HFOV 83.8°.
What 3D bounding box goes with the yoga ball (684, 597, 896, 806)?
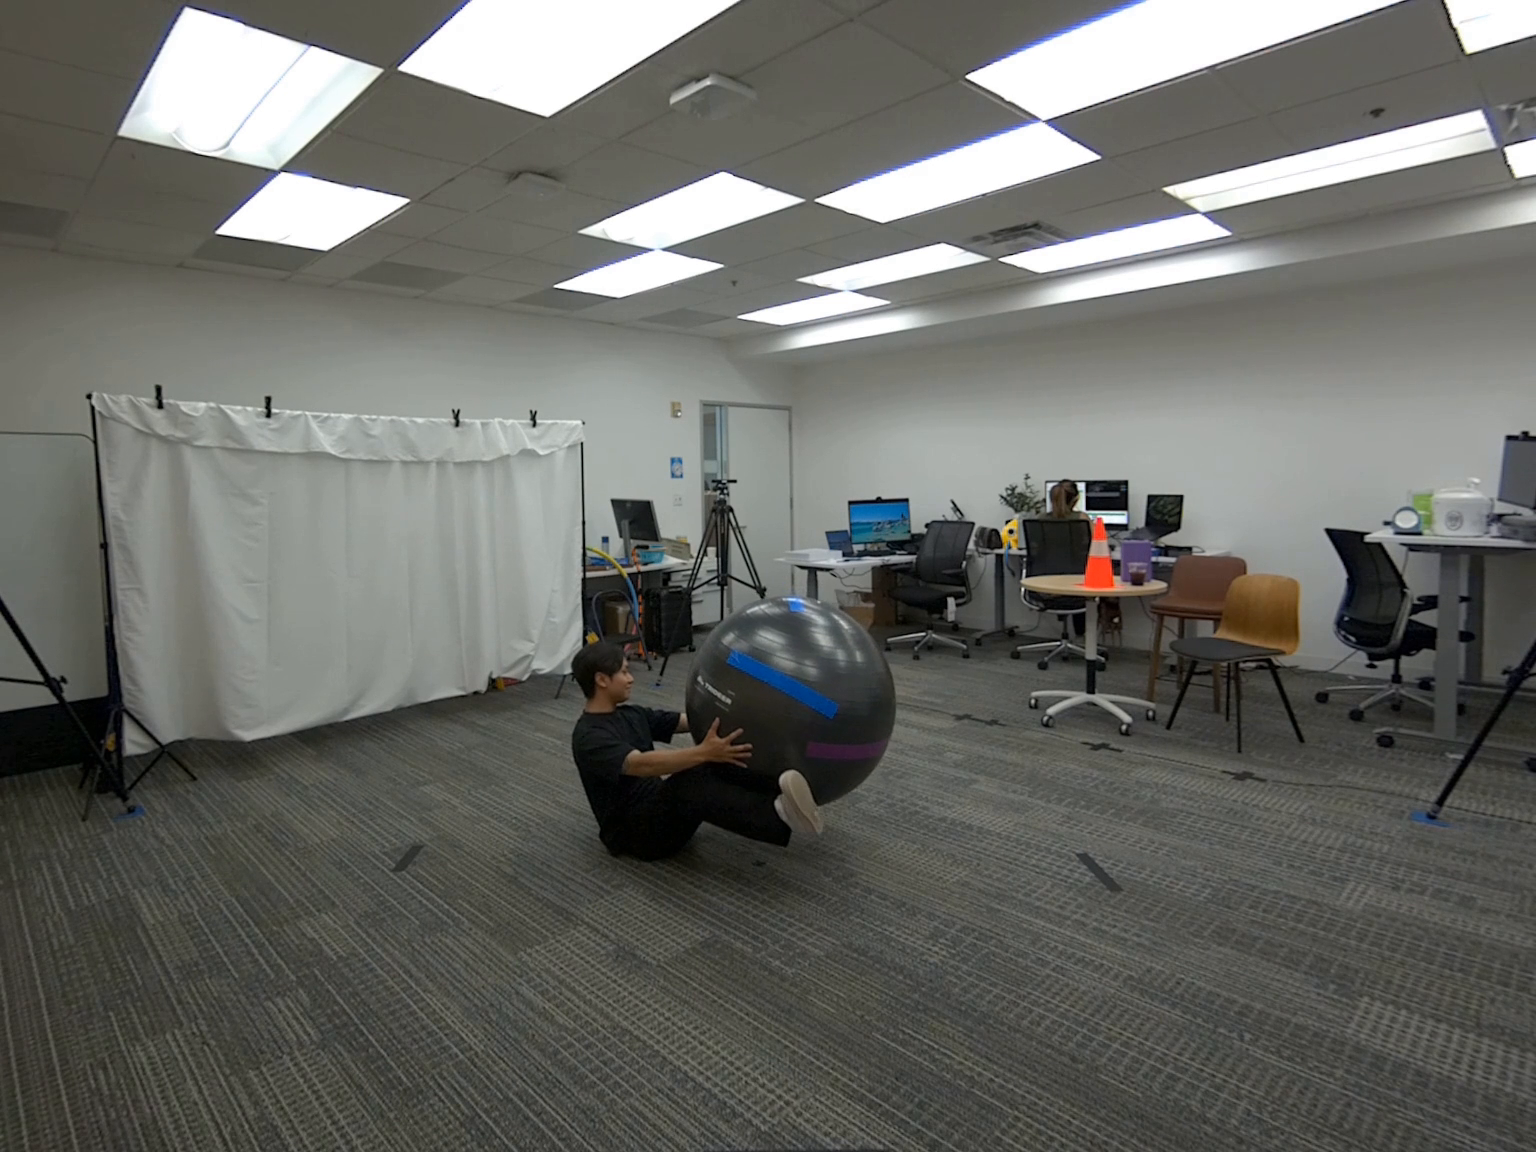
[{"bbox_3d":[0.080,0.455,3.121,0.757,0.755,0.762,-1,5,-2],"label":"yoga ball"}]
